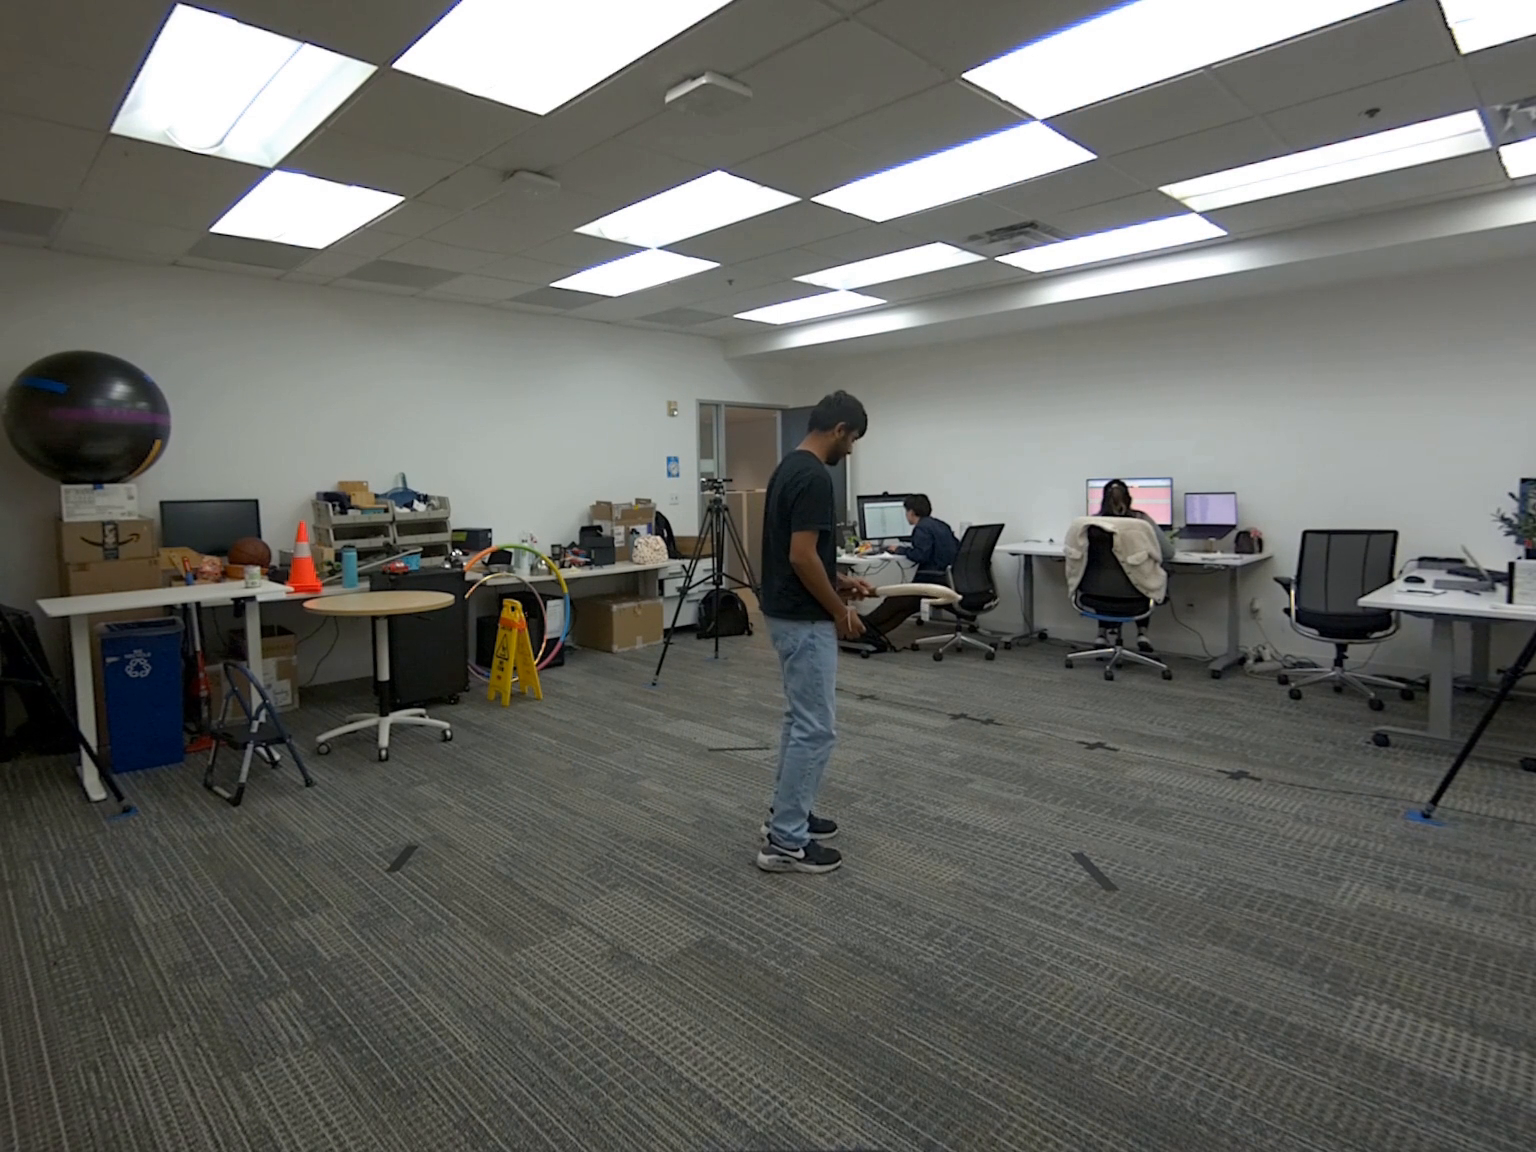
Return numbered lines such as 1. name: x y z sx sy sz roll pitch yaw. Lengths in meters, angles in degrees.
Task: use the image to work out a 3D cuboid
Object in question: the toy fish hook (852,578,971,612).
1. toy fish hook: 0.492 0.077 3.307 0.520 0.049 0.216 -2 -22 44
